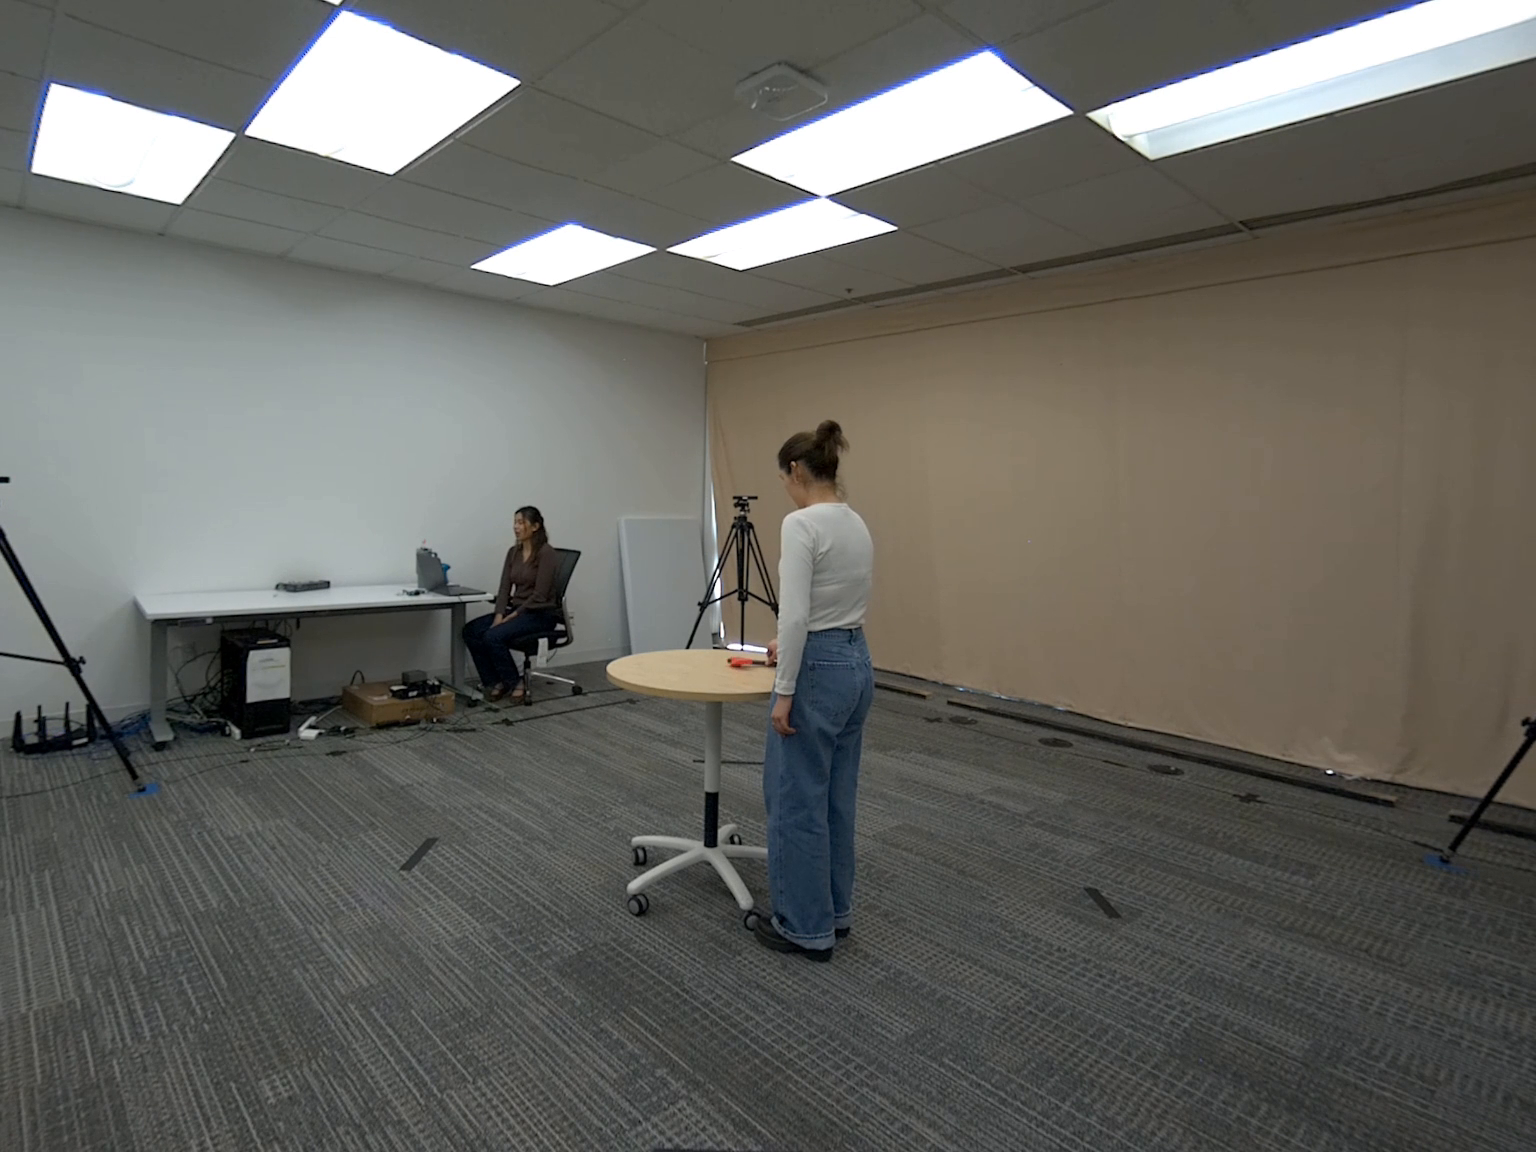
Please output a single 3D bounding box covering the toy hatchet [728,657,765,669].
[{"bbox_3d":[-0.014,0.312,3.022,0.272,0.030,0.129,1,-9,10],"label":"toy hatchet"}]
